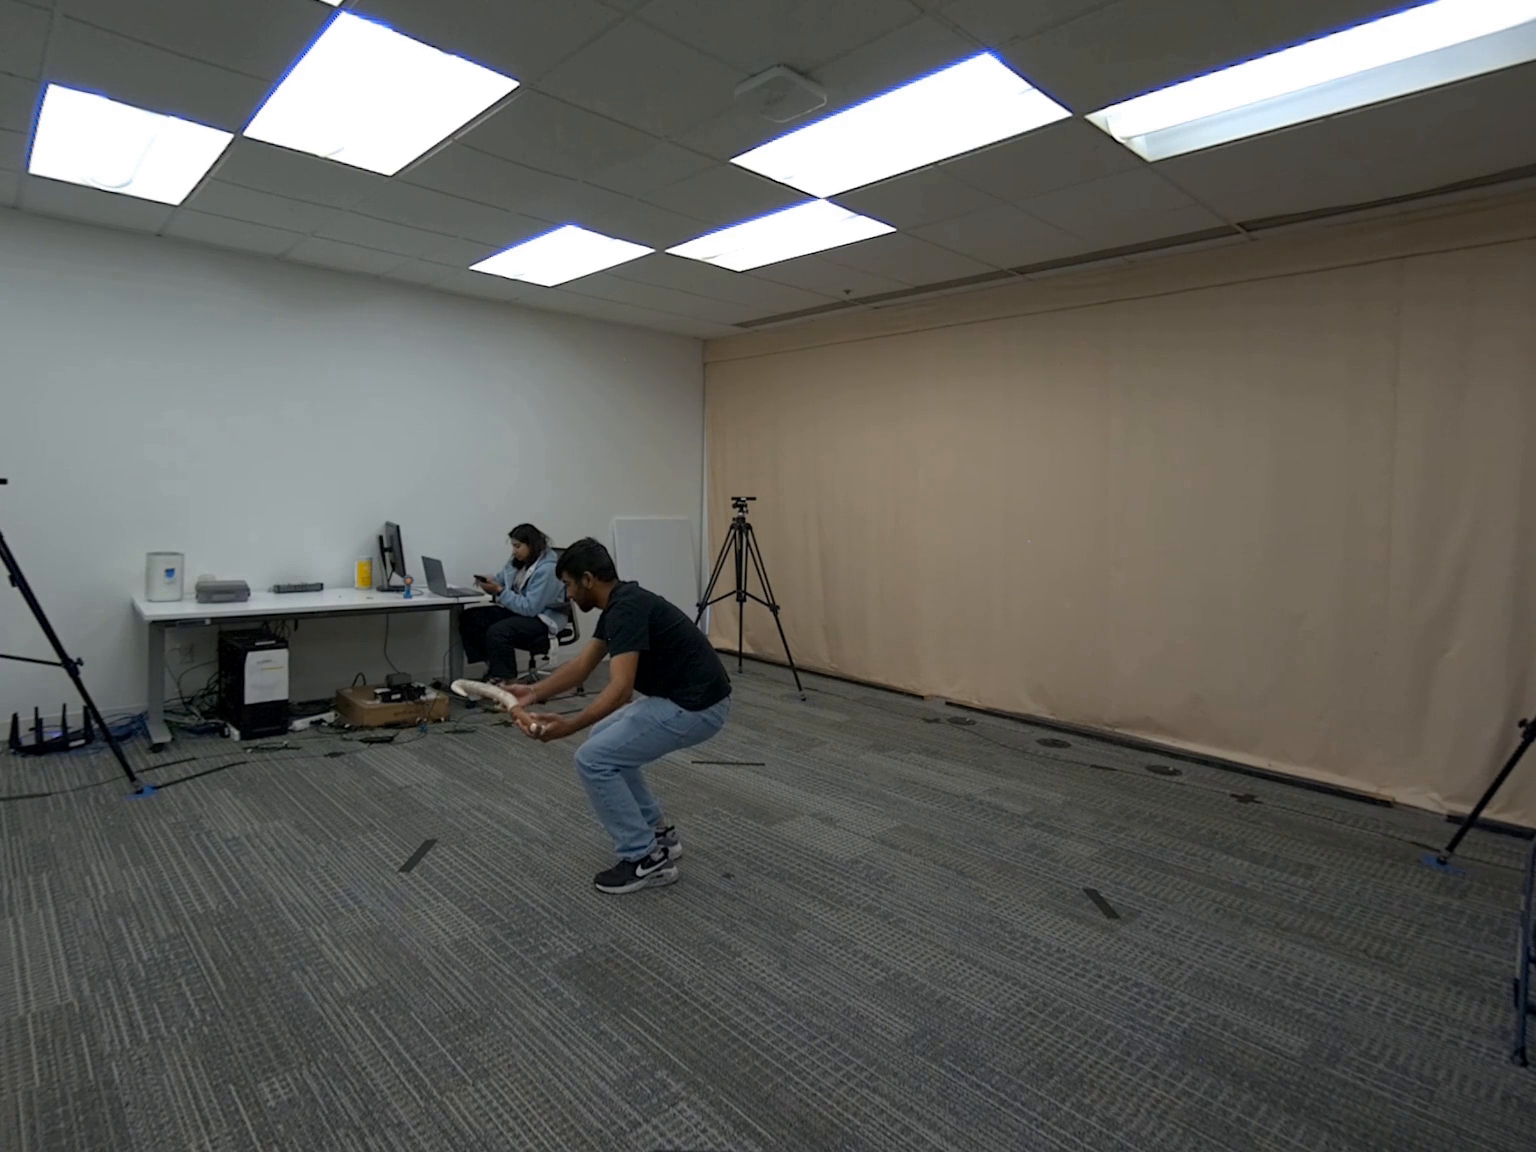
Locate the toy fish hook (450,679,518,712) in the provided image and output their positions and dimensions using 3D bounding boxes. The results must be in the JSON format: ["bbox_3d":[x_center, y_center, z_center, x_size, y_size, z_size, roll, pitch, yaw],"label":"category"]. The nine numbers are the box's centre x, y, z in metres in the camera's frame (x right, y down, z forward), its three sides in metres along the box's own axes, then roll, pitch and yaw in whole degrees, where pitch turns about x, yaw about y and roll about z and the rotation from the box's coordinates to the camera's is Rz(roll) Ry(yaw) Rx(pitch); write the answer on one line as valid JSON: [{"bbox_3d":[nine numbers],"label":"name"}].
[{"bbox_3d":[-0.858,0.411,2.670,0.219,0.048,0.520,14,-2,-35],"label":"toy fish hook"}]
